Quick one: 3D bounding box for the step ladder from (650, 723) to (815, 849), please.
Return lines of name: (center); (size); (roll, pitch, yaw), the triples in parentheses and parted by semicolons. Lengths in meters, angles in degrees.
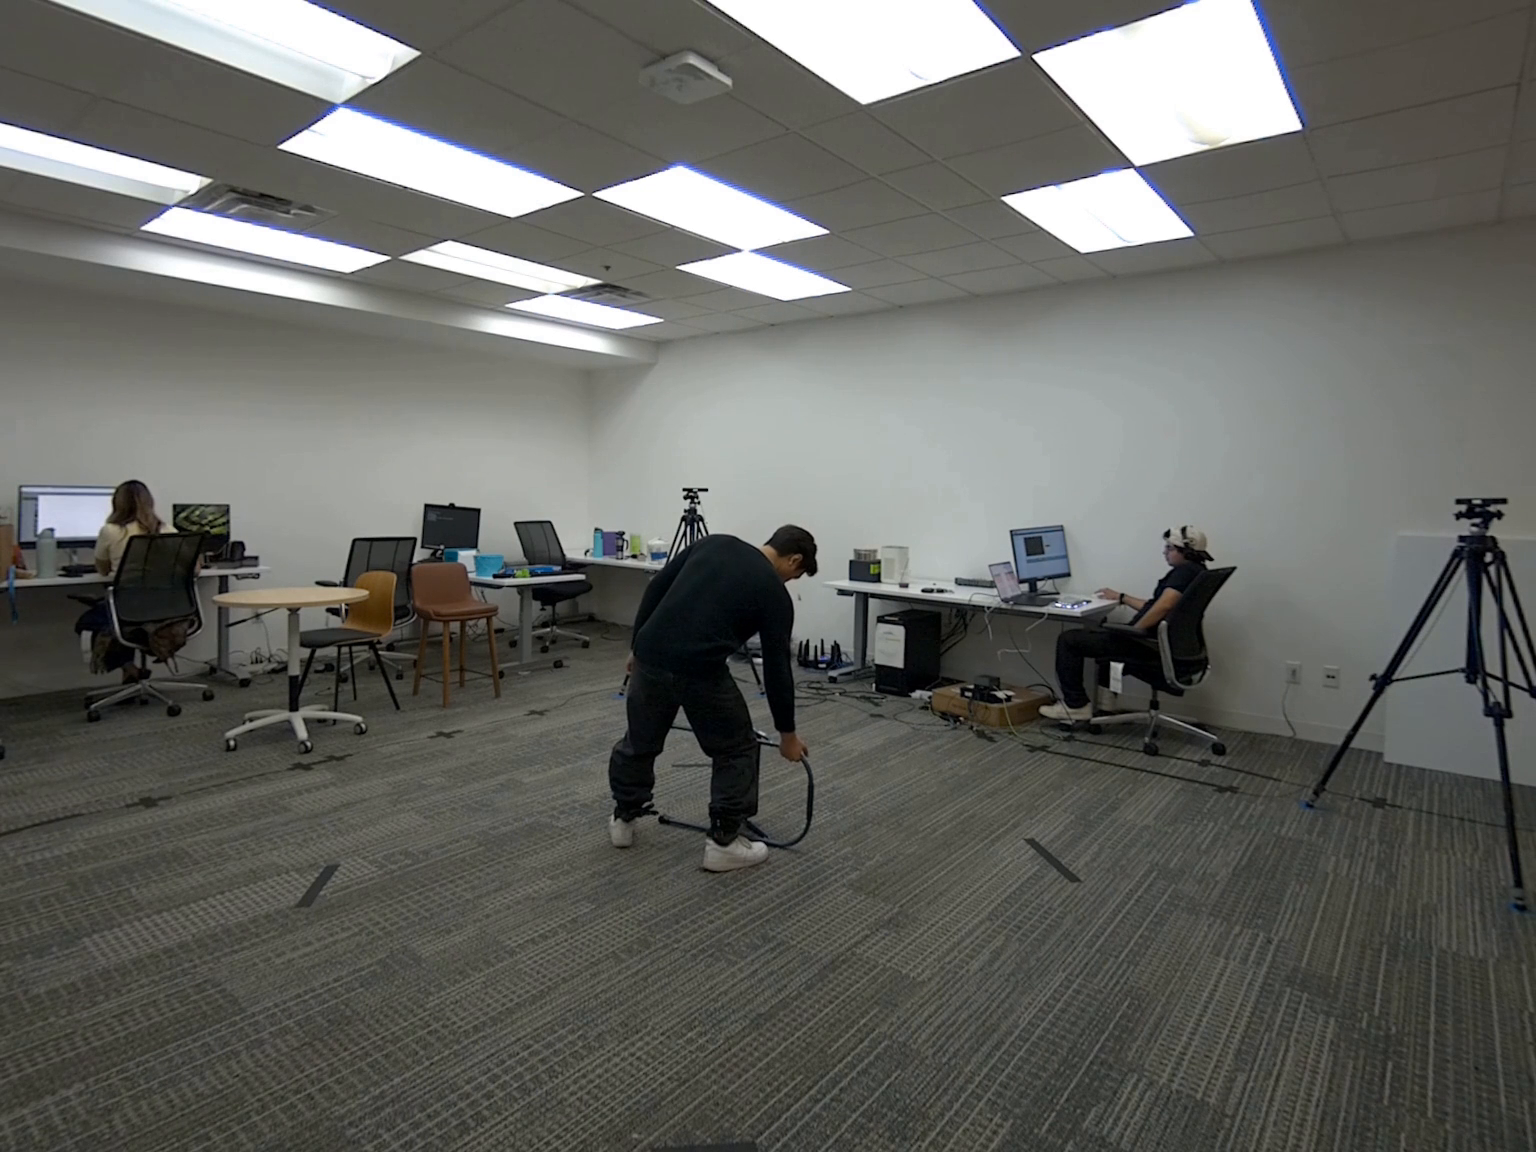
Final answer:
step ladder: (-0.113, 0.832, 3.423); (0.627, 0.429, 0.338); (7, 7, 44)
